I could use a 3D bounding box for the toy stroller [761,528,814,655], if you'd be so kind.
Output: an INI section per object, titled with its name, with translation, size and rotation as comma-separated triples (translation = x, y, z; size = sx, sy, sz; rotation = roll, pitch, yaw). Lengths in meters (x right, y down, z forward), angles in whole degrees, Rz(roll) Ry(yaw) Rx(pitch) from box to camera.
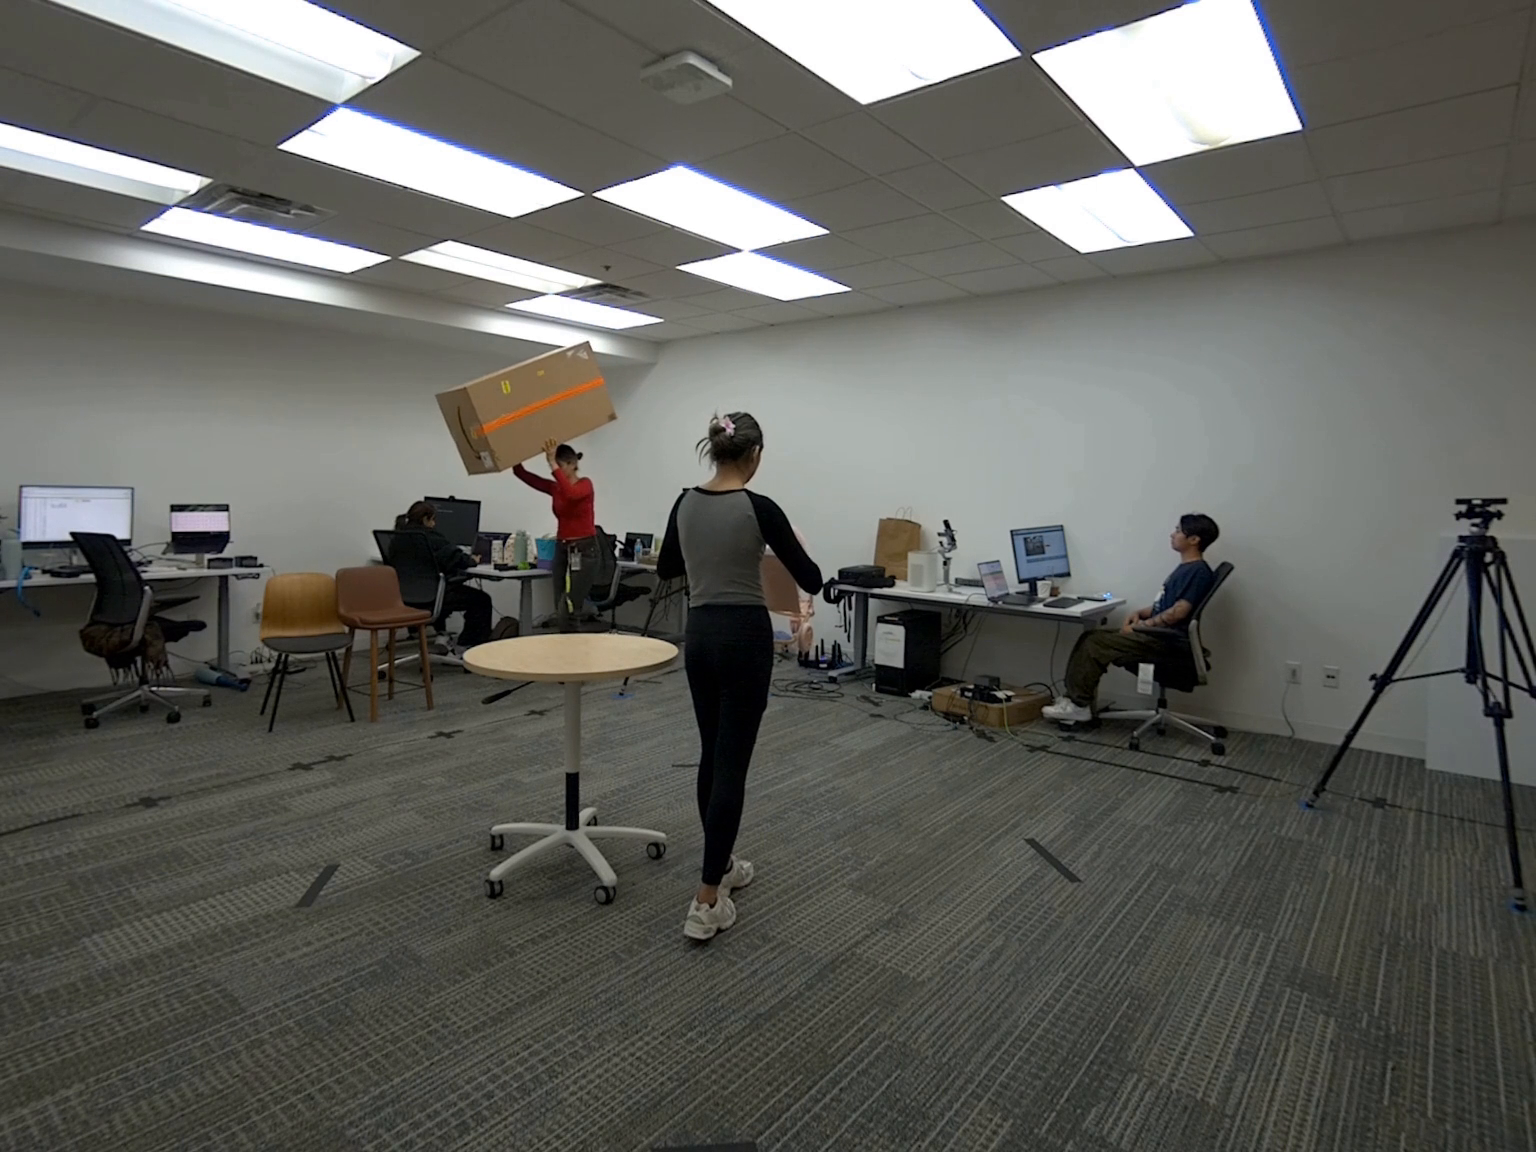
[toy stroller]
translation = 0.042, 0.038, 3.232
size = 0.289, 0.525, 0.338
rotation = 6, 21, 26
